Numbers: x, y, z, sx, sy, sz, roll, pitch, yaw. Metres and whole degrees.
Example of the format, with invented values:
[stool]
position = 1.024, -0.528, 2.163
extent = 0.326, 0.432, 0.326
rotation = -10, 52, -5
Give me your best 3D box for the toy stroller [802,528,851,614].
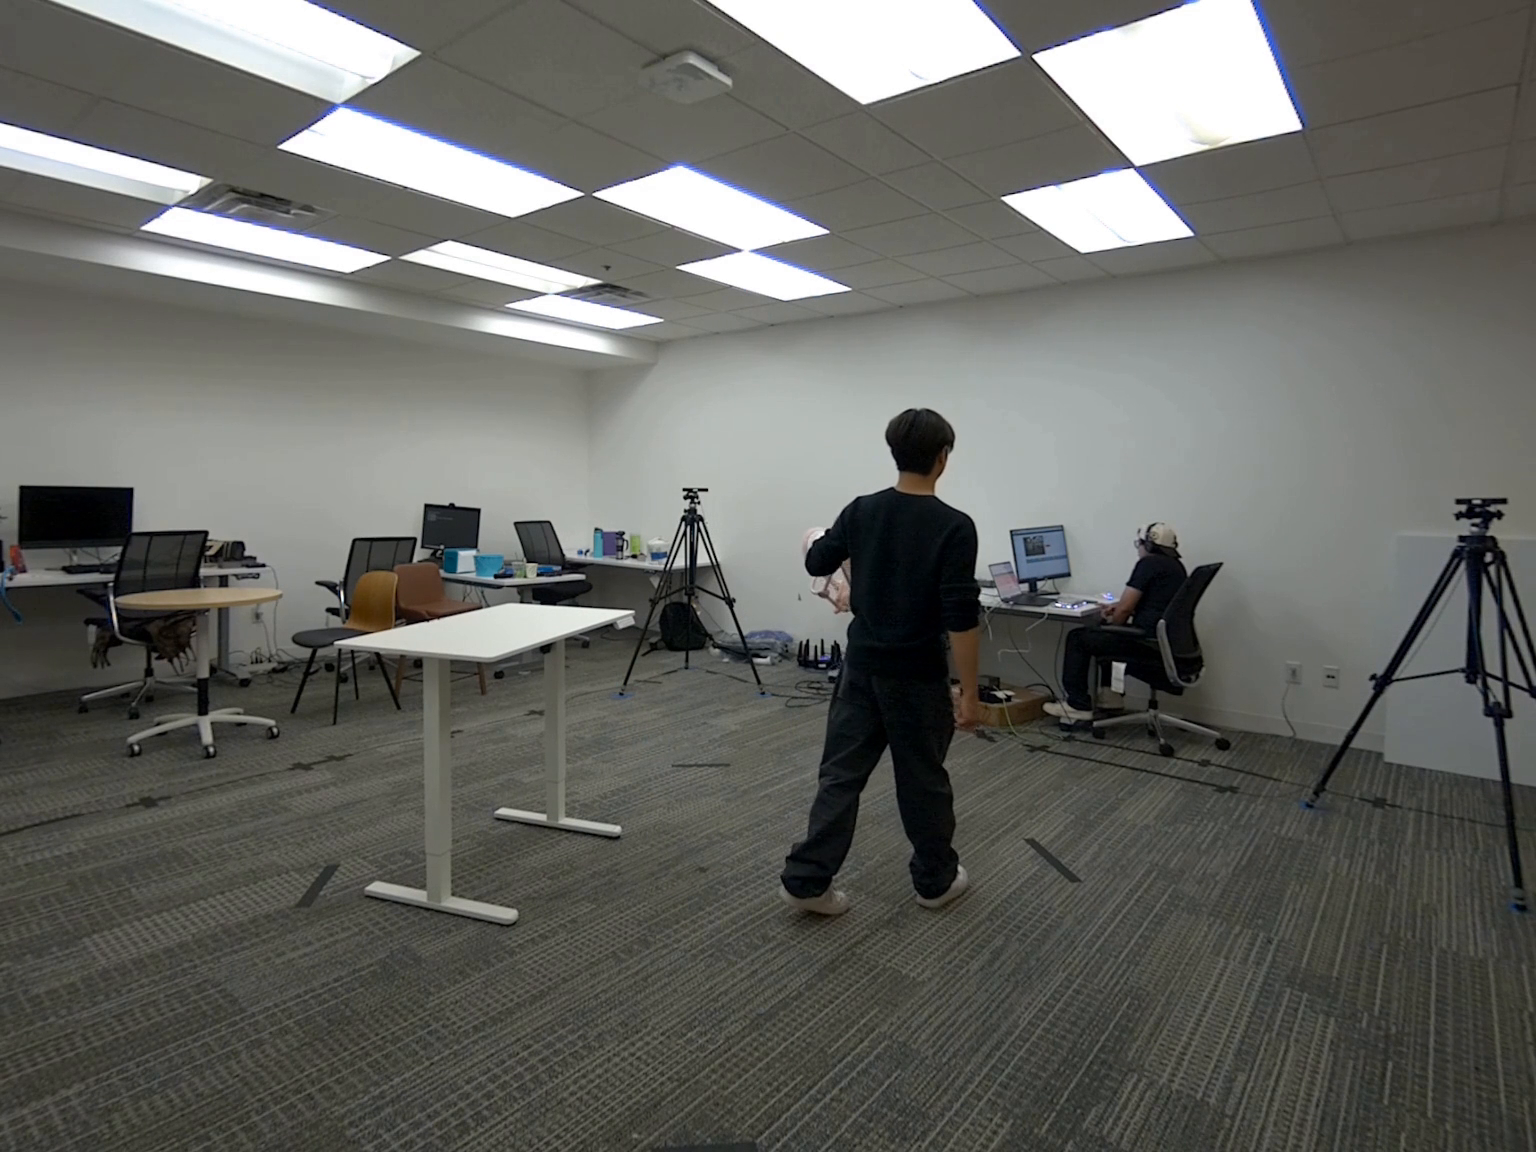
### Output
[toy stroller]
position = 0.290, -0.024, 3.458
extent = 0.351, 0.284, 0.515
rotation = -4, -41, 44
